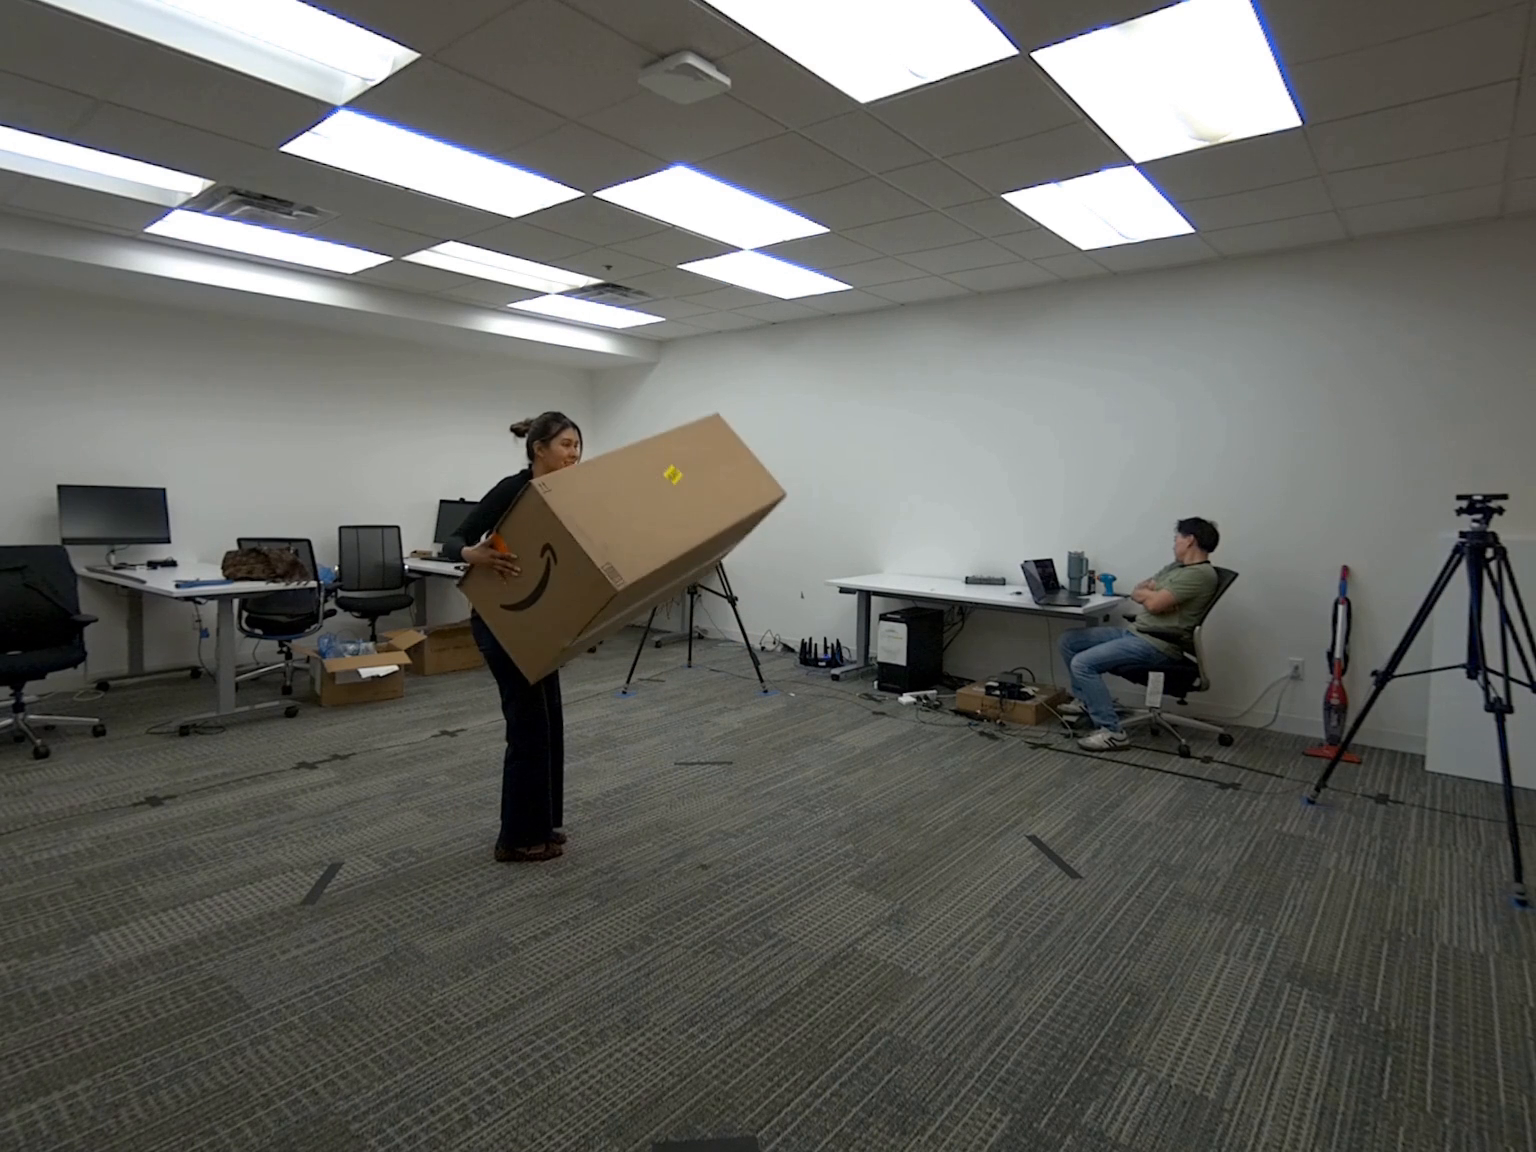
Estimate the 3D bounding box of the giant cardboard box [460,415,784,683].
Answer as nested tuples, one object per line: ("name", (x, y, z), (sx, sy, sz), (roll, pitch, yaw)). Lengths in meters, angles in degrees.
("giant cardboard box", (-0.492, -0.140, 3.002), (0.578, 0.430, 1.015), (-44, -6, 38))
